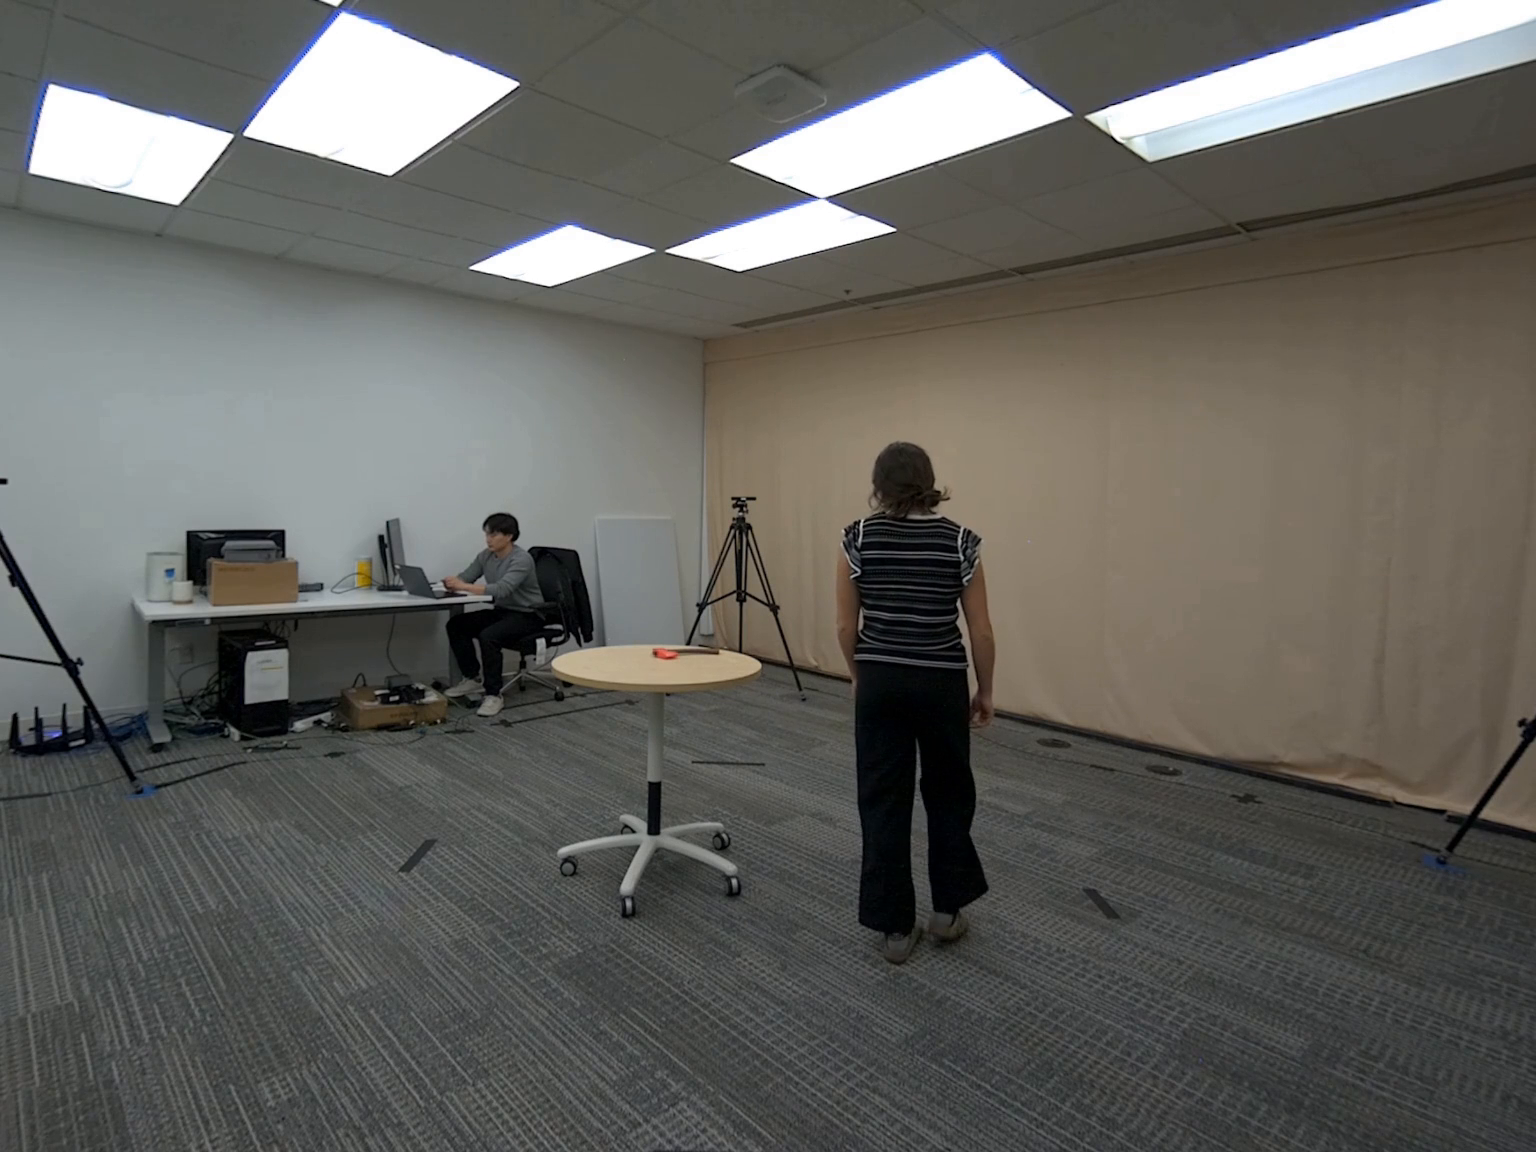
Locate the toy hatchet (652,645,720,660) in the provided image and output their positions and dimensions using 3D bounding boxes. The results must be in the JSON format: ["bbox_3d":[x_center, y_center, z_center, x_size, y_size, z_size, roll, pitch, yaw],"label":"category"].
[{"bbox_3d":[-0.324,0.301,3.233,0.267,0.029,0.133,2,6,-12],"label":"toy hatchet"}]
